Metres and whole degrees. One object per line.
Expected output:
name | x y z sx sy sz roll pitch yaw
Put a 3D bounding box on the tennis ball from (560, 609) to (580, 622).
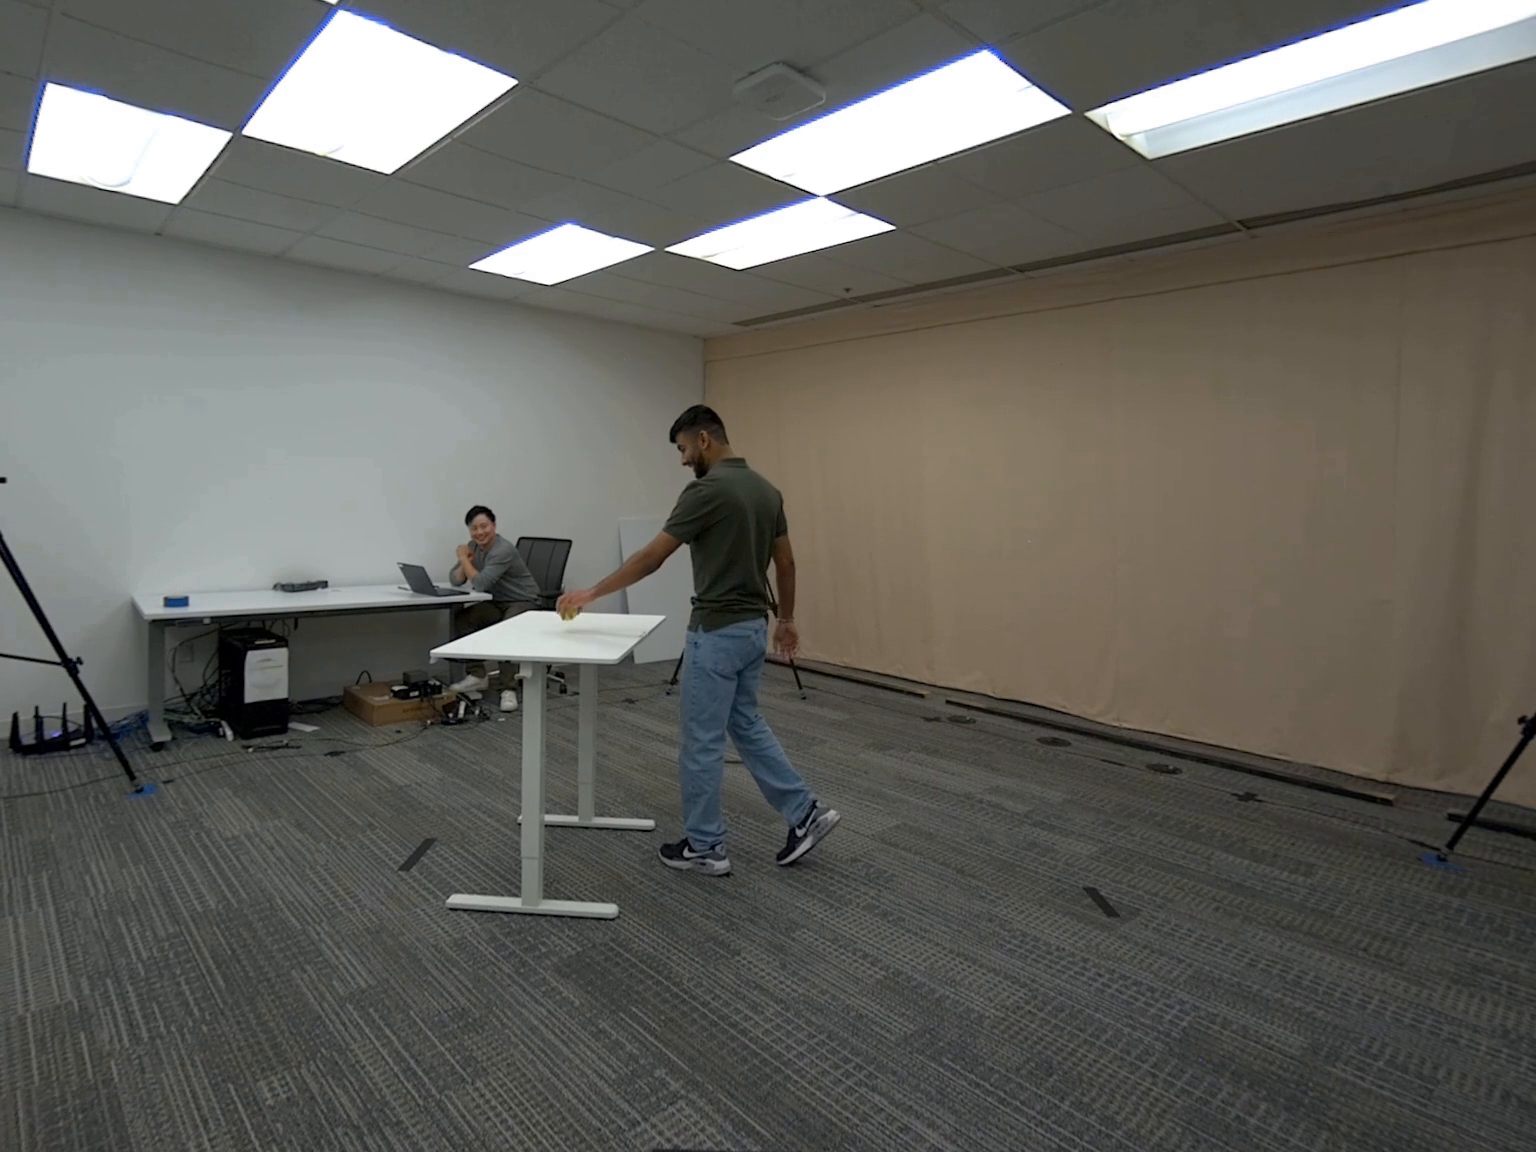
tennis ball | -0.730 0.127 3.112 0.066 0.066 0.067 1 4 -1
